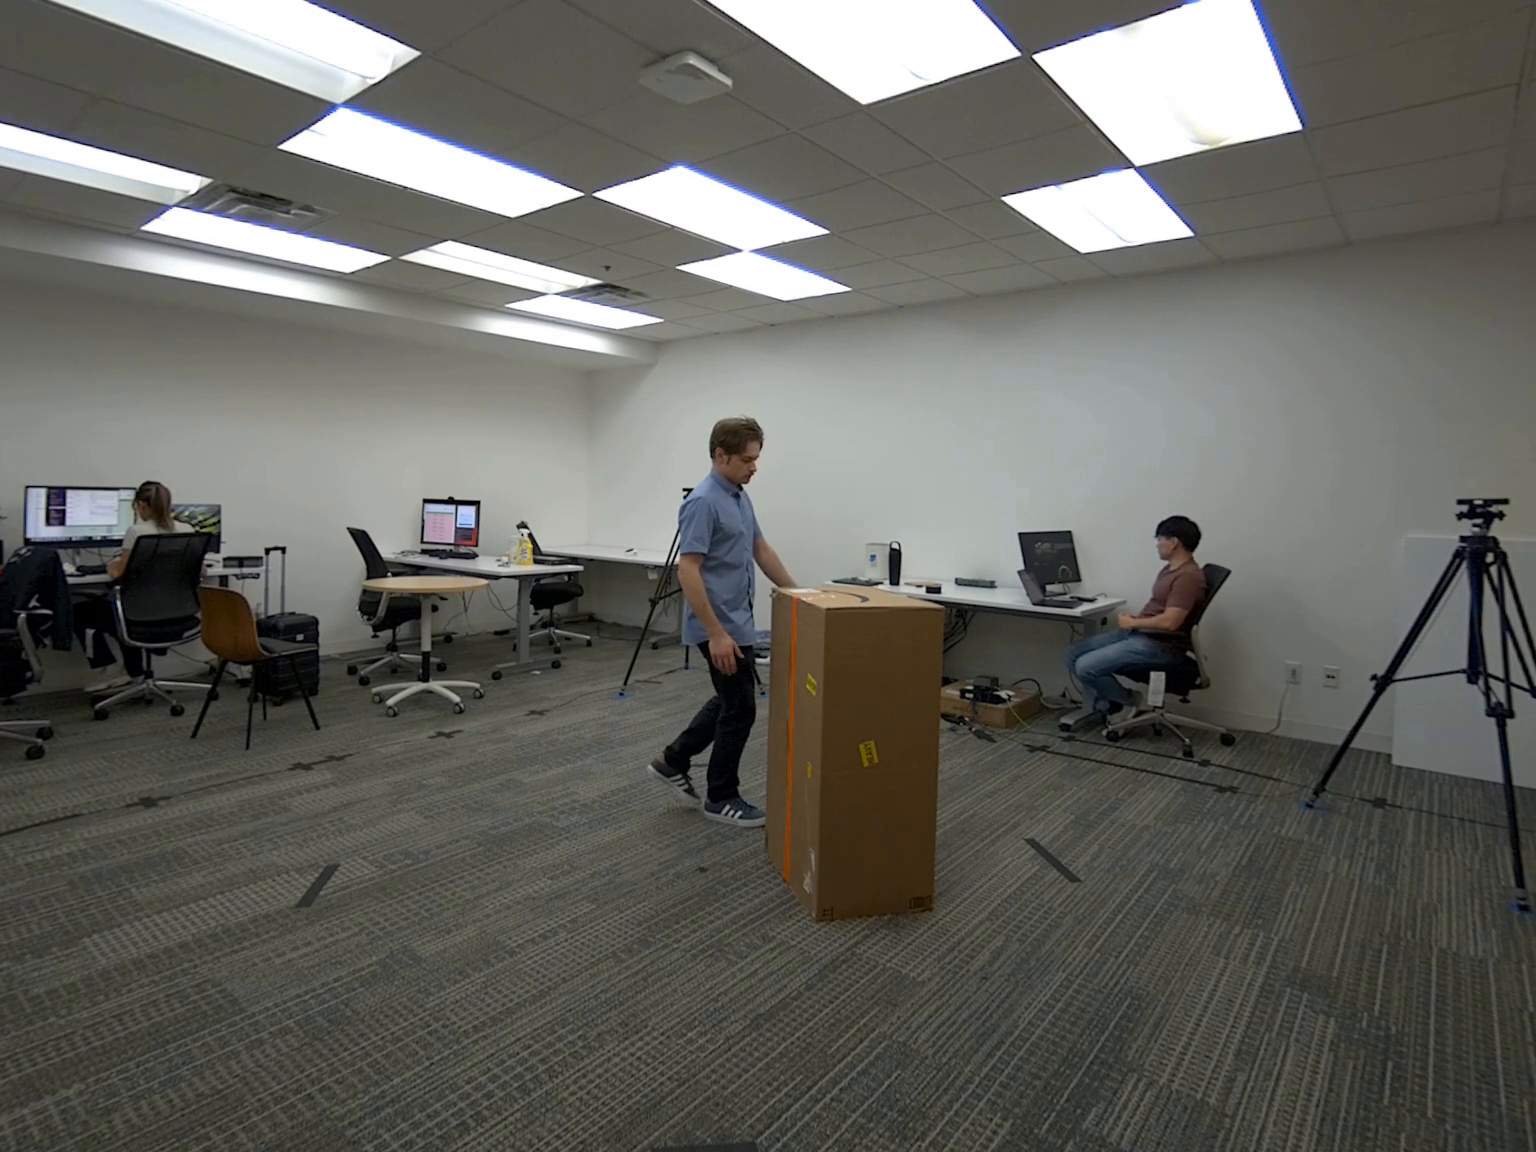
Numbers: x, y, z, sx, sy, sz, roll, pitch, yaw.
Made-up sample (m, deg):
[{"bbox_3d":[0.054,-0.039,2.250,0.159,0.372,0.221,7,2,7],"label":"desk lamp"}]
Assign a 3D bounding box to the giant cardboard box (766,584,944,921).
[{"bbox_3d":[0.281,0.575,3.036,0.440,1.024,0.595,0,4,-15],"label":"giant cardboard box"}]
